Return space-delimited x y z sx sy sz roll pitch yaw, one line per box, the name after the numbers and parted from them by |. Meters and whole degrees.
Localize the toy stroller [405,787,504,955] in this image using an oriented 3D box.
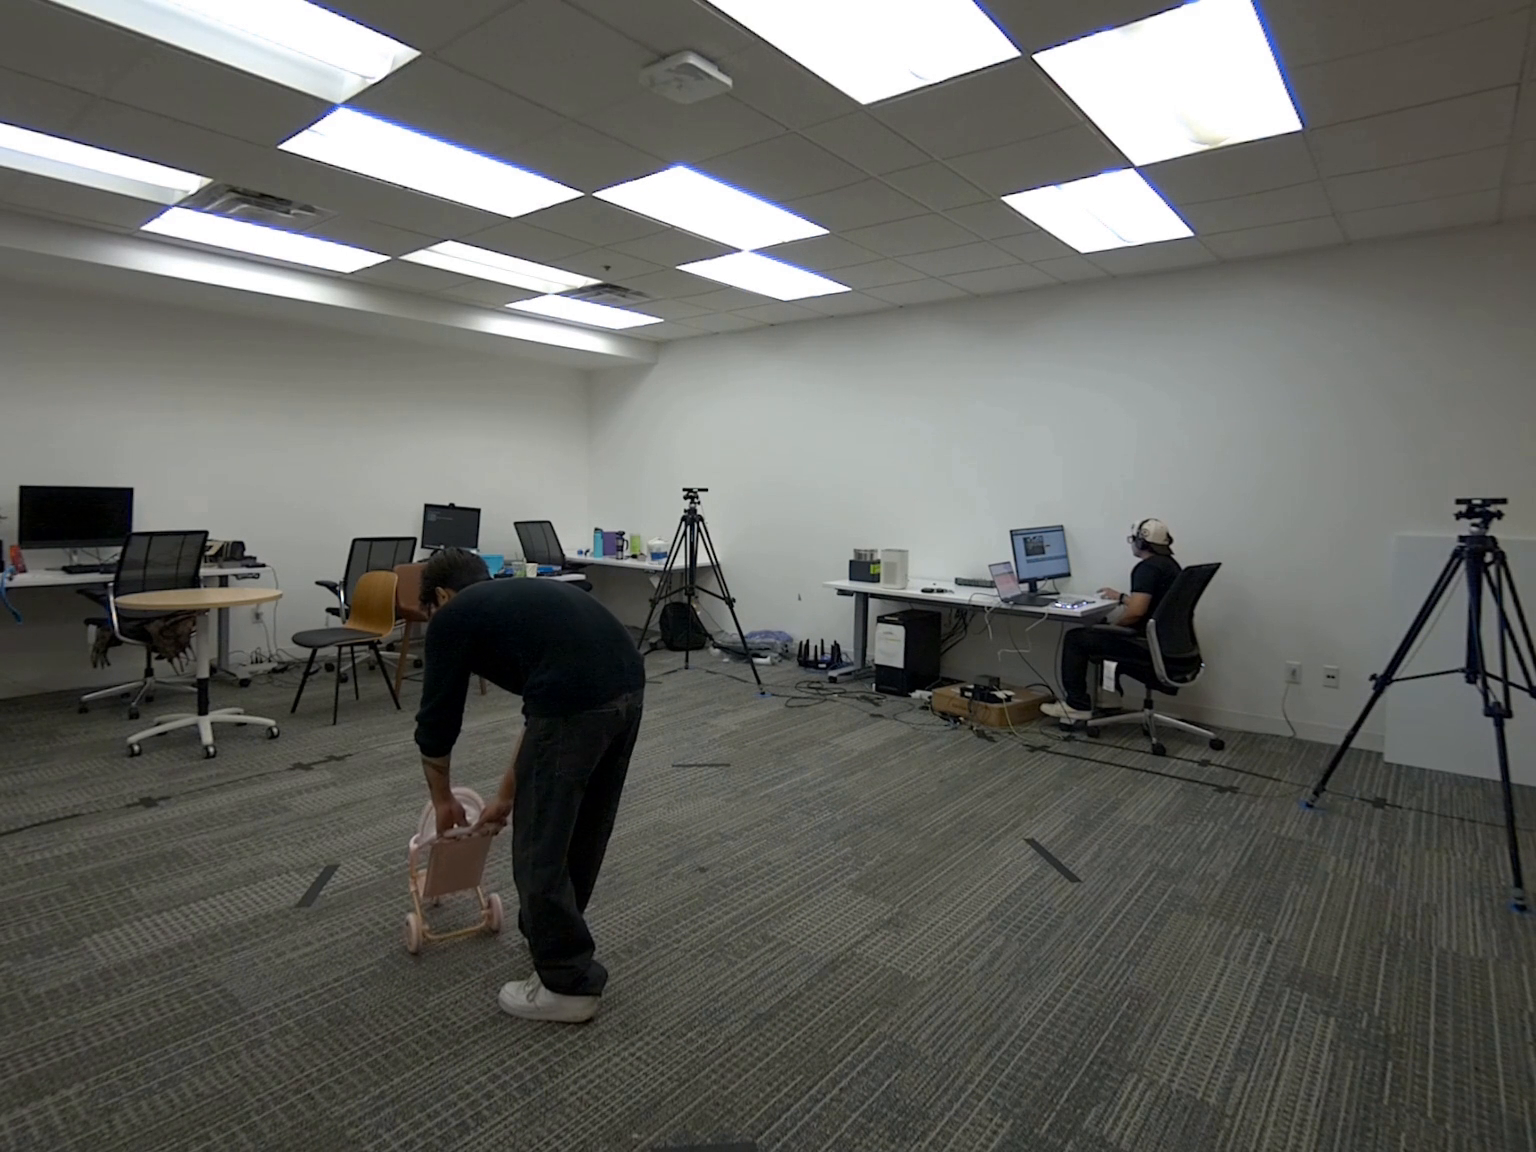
-0.994 0.883 2.640 0.274 0.528 0.355 0 23 -31 | toy stroller
